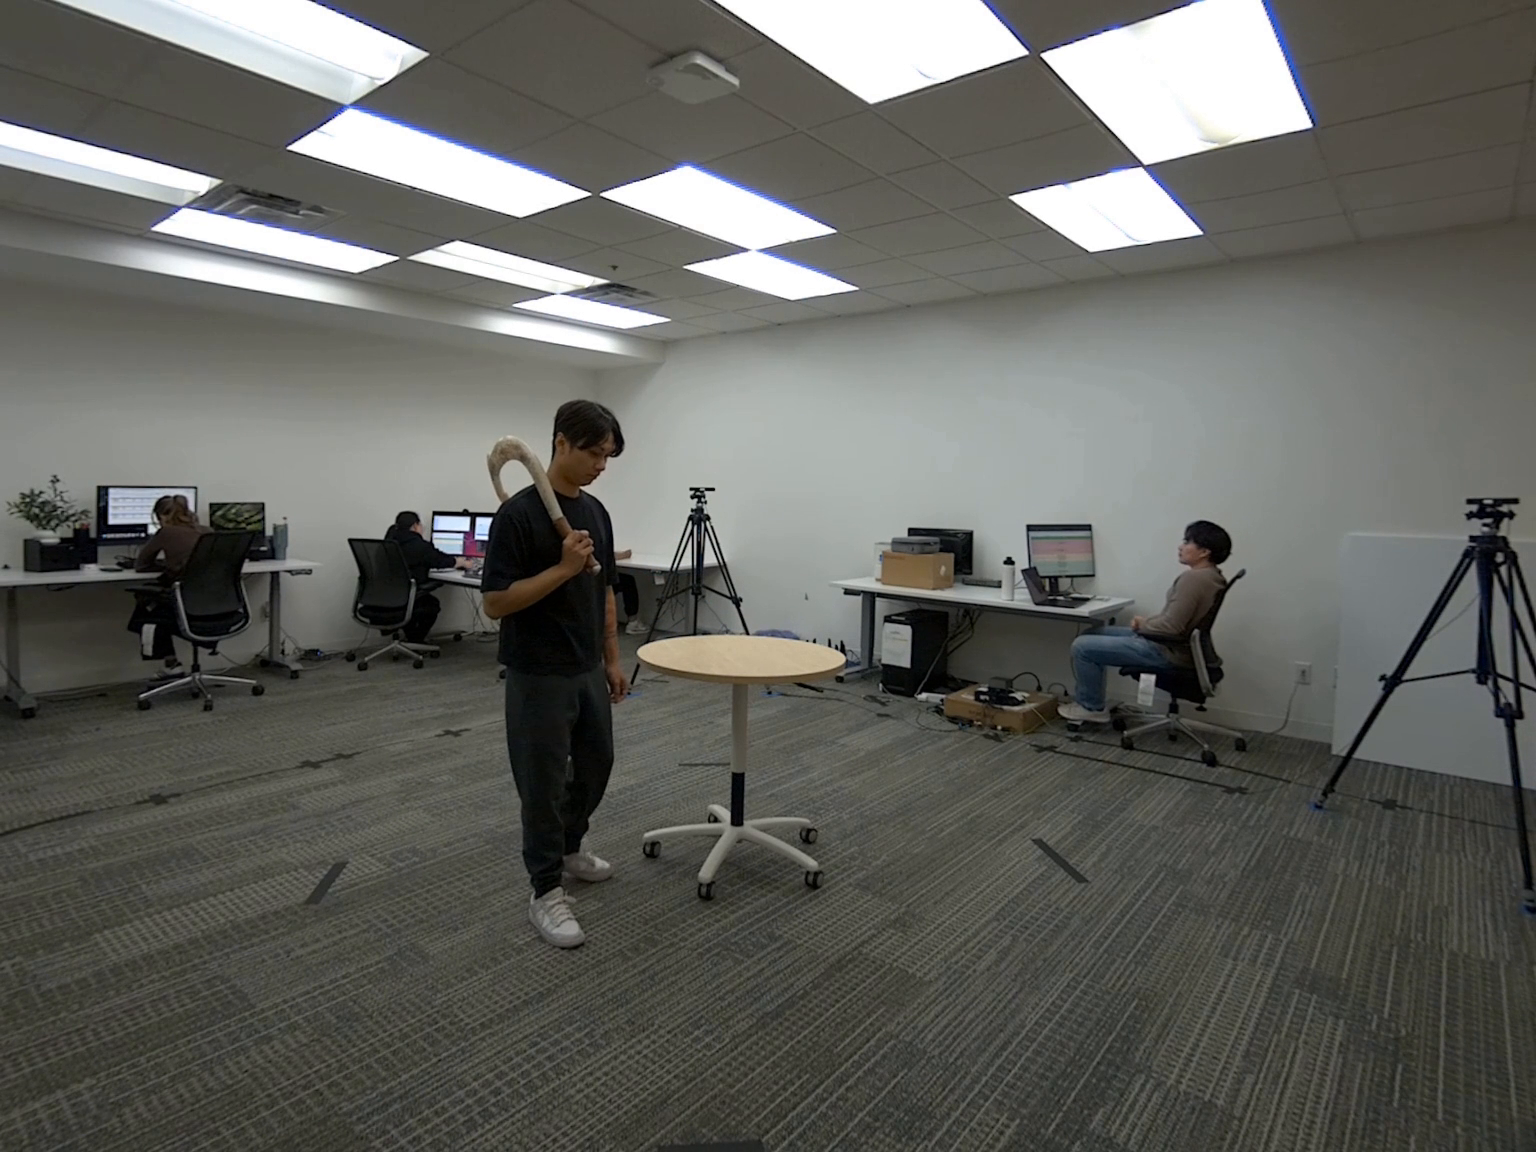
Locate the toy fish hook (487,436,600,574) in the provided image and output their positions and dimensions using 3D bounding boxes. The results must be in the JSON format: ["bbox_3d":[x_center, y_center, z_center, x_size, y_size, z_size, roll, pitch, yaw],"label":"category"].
[{"bbox_3d":[-0.700,-0.195,2.581,0.226,0.512,0.047,-40,-9,39],"label":"toy fish hook"}]
